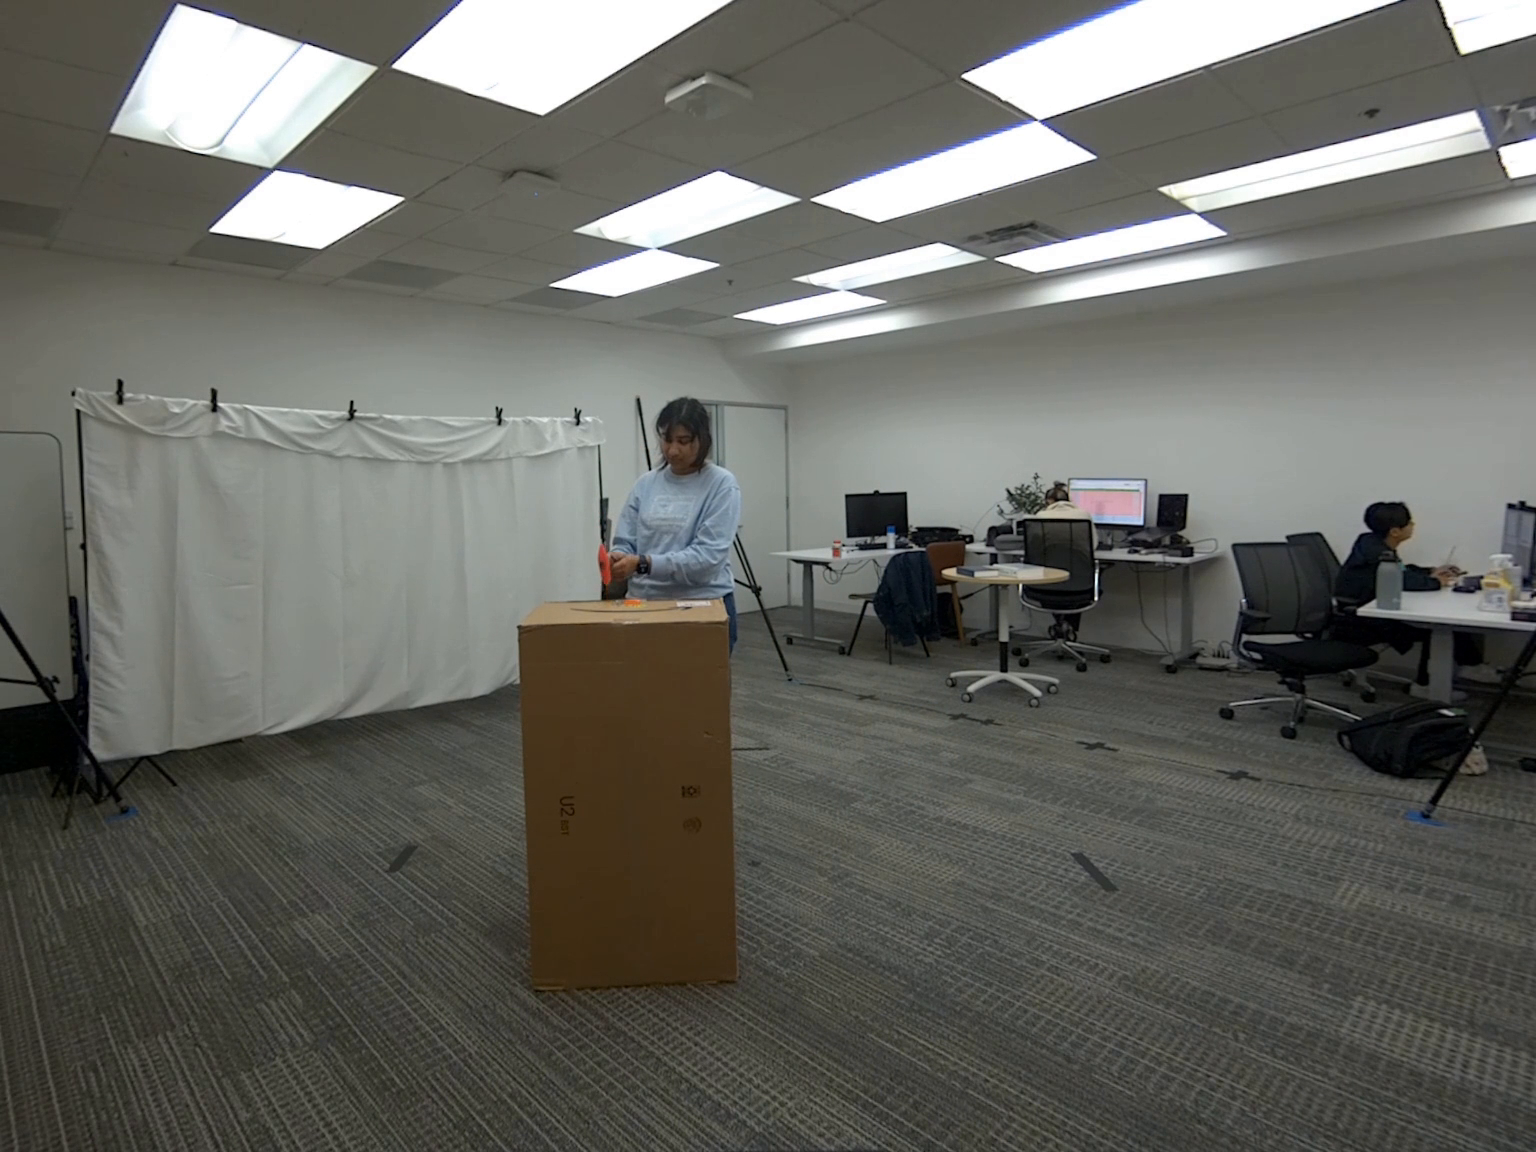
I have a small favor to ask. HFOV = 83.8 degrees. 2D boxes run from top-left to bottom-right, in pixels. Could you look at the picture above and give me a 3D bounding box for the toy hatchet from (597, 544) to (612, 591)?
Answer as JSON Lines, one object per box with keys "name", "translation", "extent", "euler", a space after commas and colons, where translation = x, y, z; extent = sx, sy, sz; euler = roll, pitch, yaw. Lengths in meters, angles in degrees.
{"name": "toy hatchet", "translation": [-0.512, -0.019, 2.800], "extent": [0.030, 0.133, 0.263], "euler": [-8, -16, 9]}
